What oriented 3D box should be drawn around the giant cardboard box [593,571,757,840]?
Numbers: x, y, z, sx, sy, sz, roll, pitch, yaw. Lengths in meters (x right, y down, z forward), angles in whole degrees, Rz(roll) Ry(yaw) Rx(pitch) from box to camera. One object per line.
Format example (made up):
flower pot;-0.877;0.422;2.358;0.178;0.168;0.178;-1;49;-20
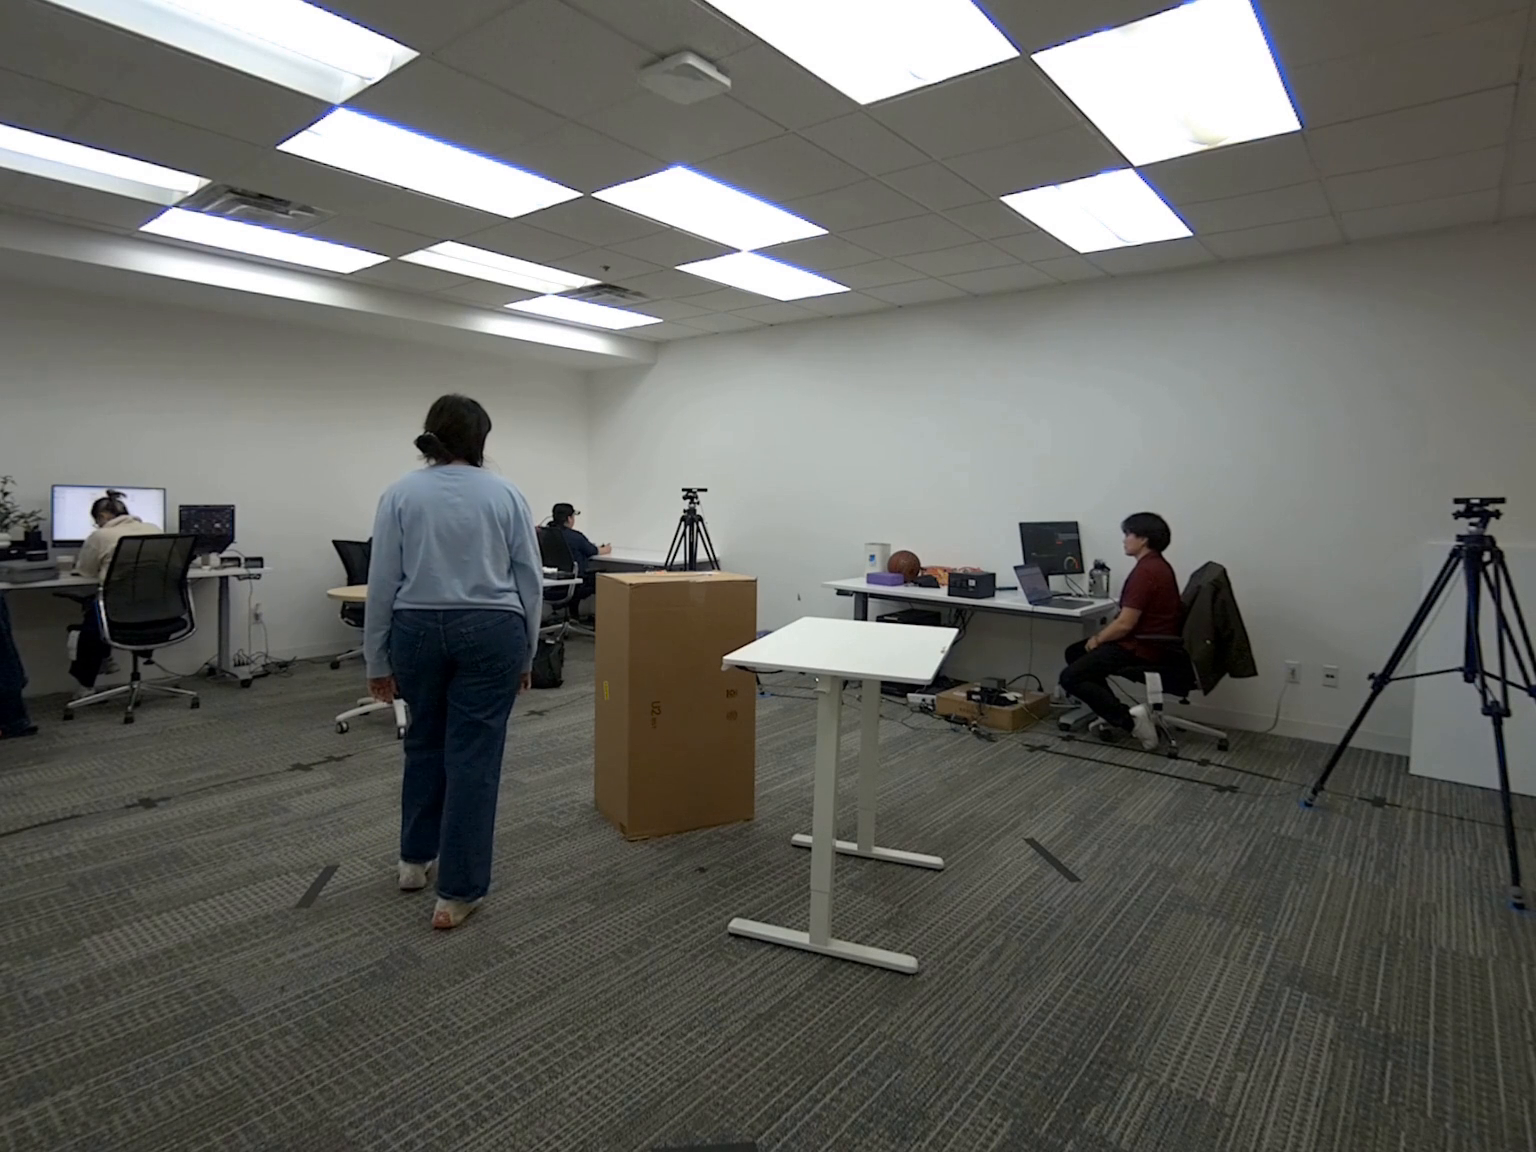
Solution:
giant cardboard box;-0.413;0.506;3.635;0.563;1.023;0.438;-1;3;-29
